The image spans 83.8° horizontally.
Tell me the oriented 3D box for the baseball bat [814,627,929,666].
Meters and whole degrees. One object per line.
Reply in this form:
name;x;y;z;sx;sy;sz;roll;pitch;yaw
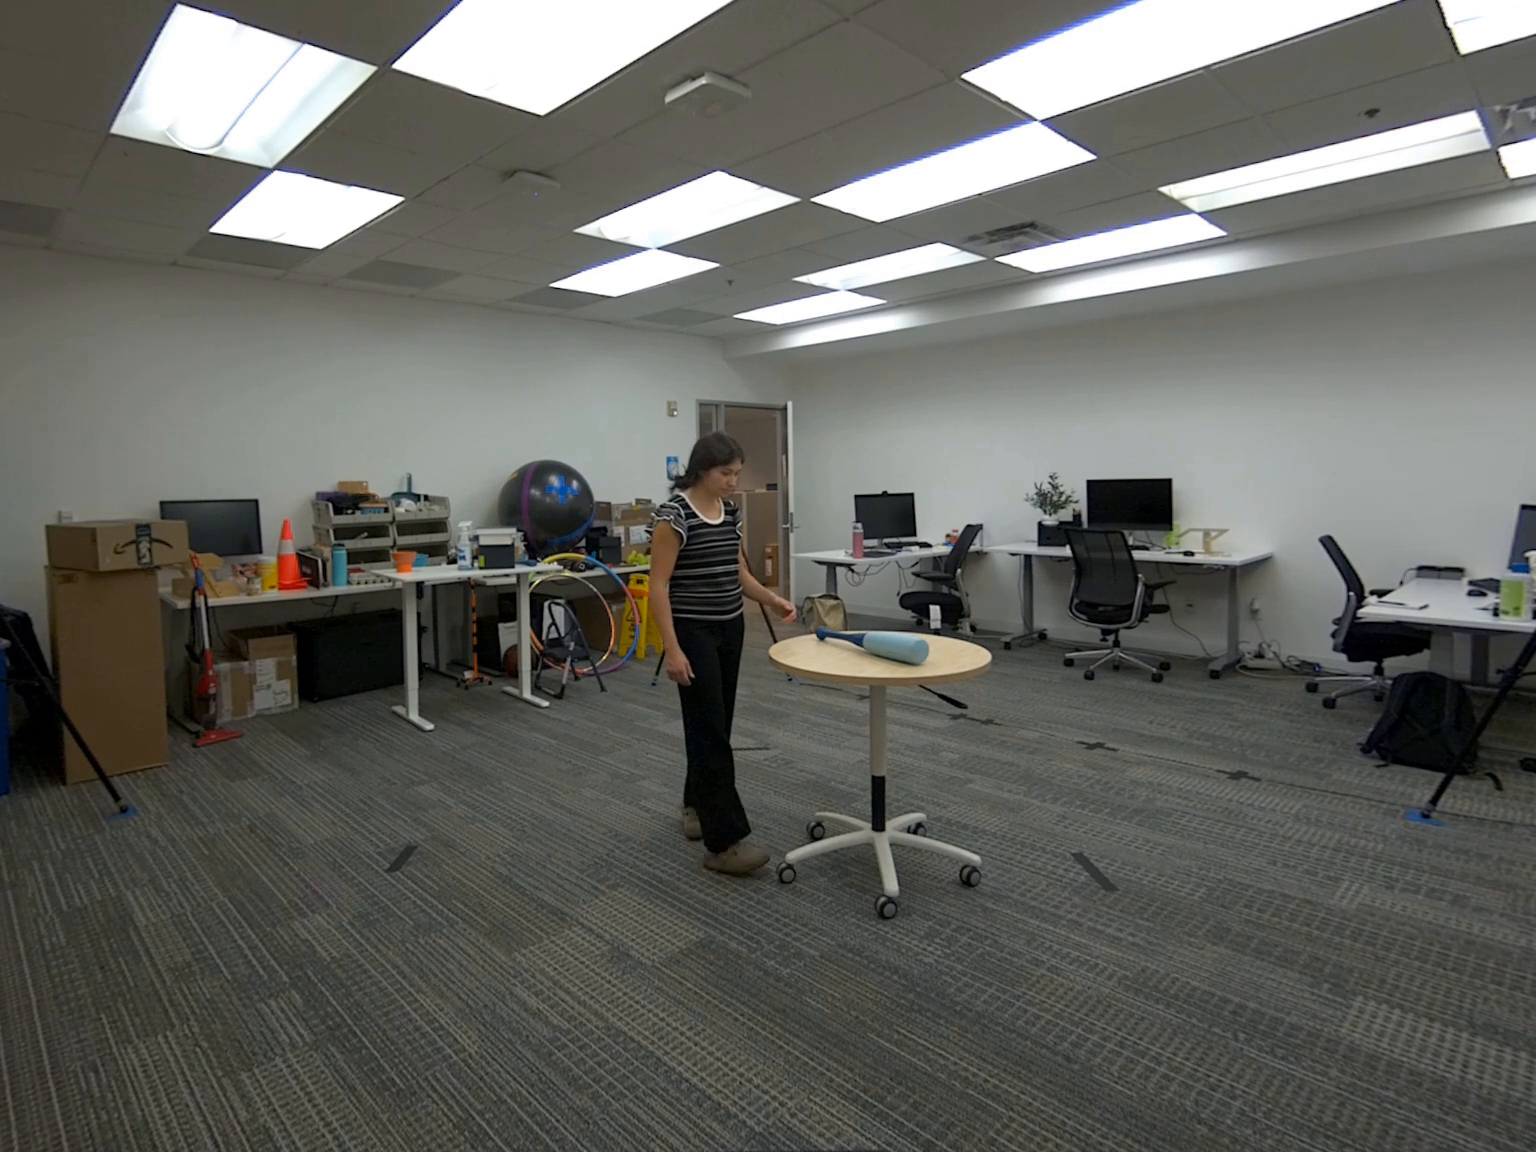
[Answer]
baseball bat;0.353;0.232;2.997;0.087;0.089;0.557;-4;5;-31
